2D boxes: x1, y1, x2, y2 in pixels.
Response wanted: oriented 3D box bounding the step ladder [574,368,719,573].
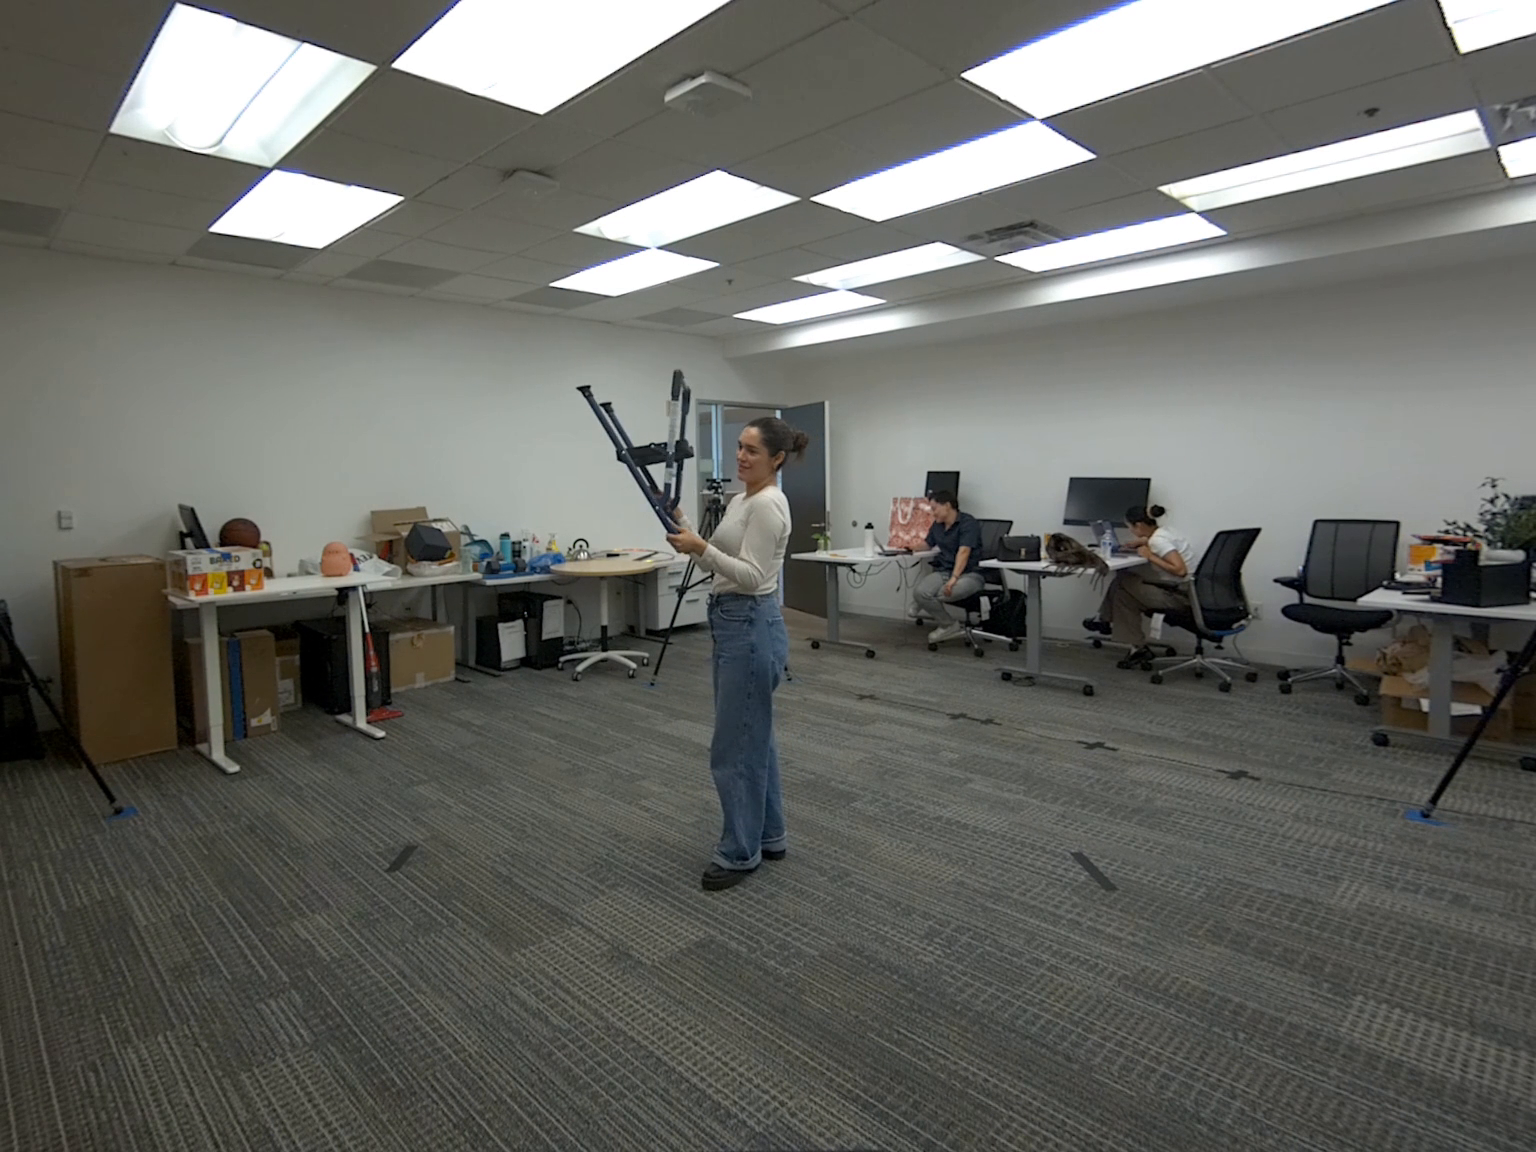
[{"bbox_3d":[-0.400,-0.363,3.000,0.350,0.605,0.430,-11,3,3],"label":"step ladder"}]
